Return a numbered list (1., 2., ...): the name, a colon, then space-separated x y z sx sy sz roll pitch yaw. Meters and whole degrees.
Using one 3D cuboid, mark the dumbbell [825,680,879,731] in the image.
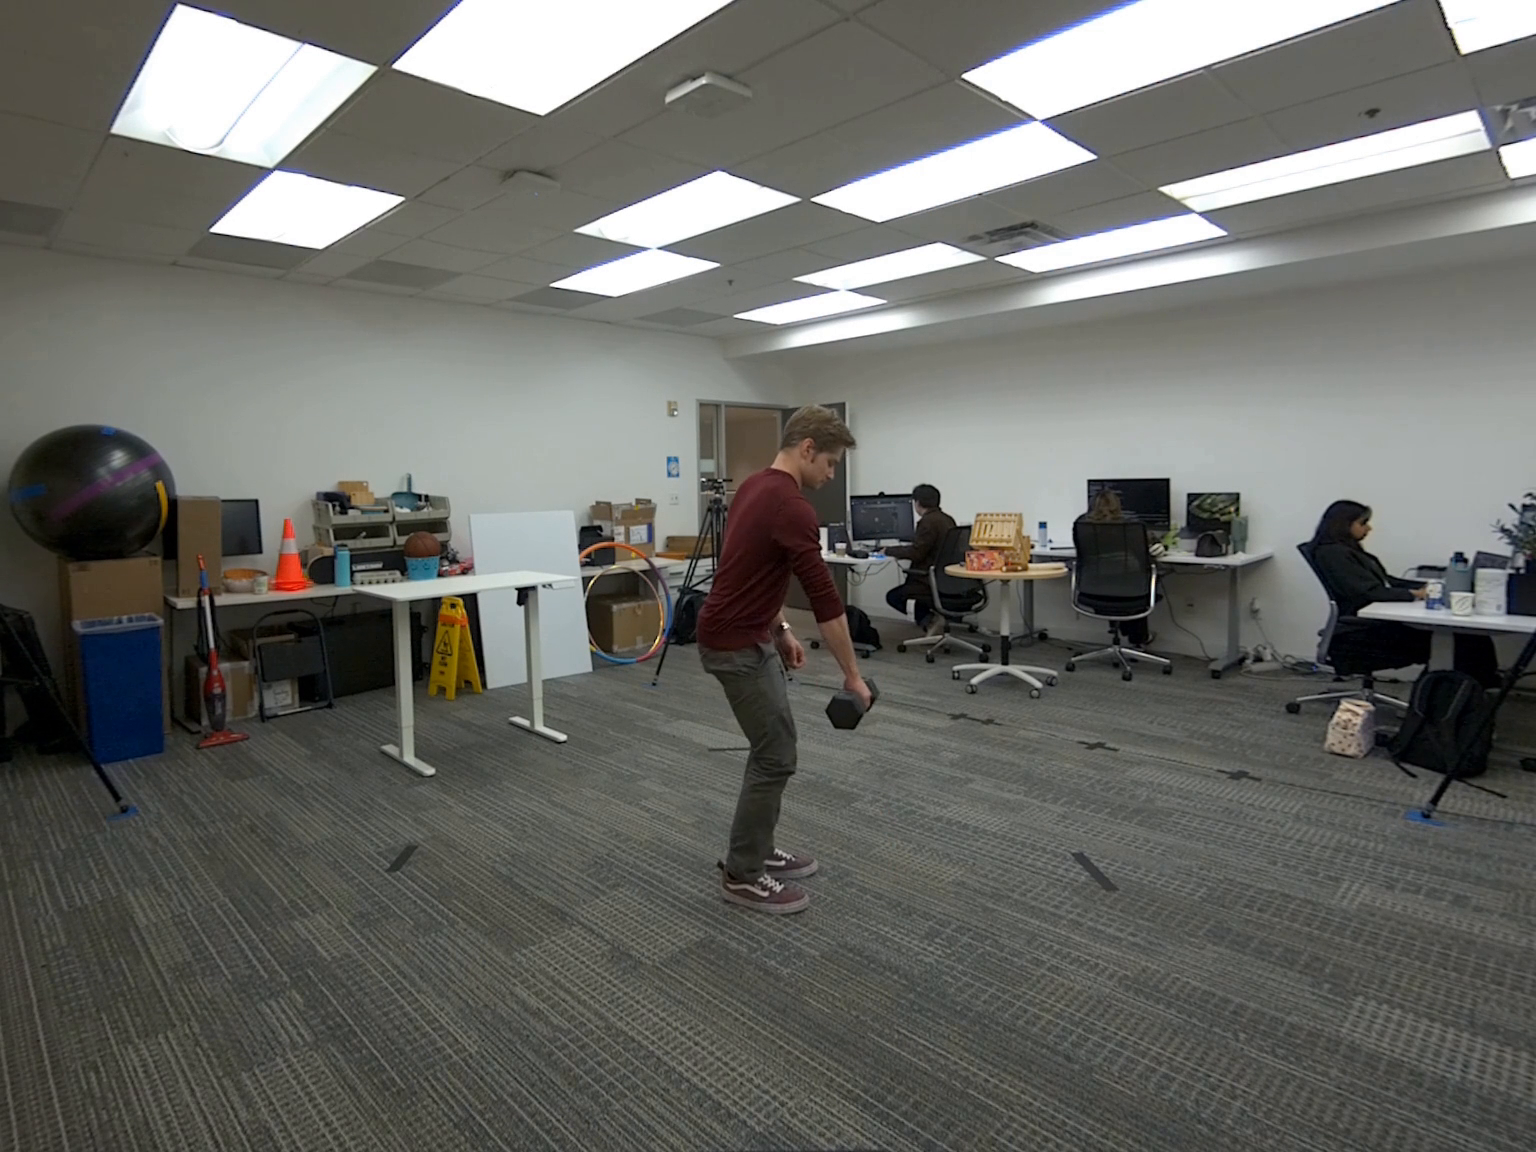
1. dumbbell: 0.274 0.416 2.747 0.109 0.124 0.289 -31 -4 19
